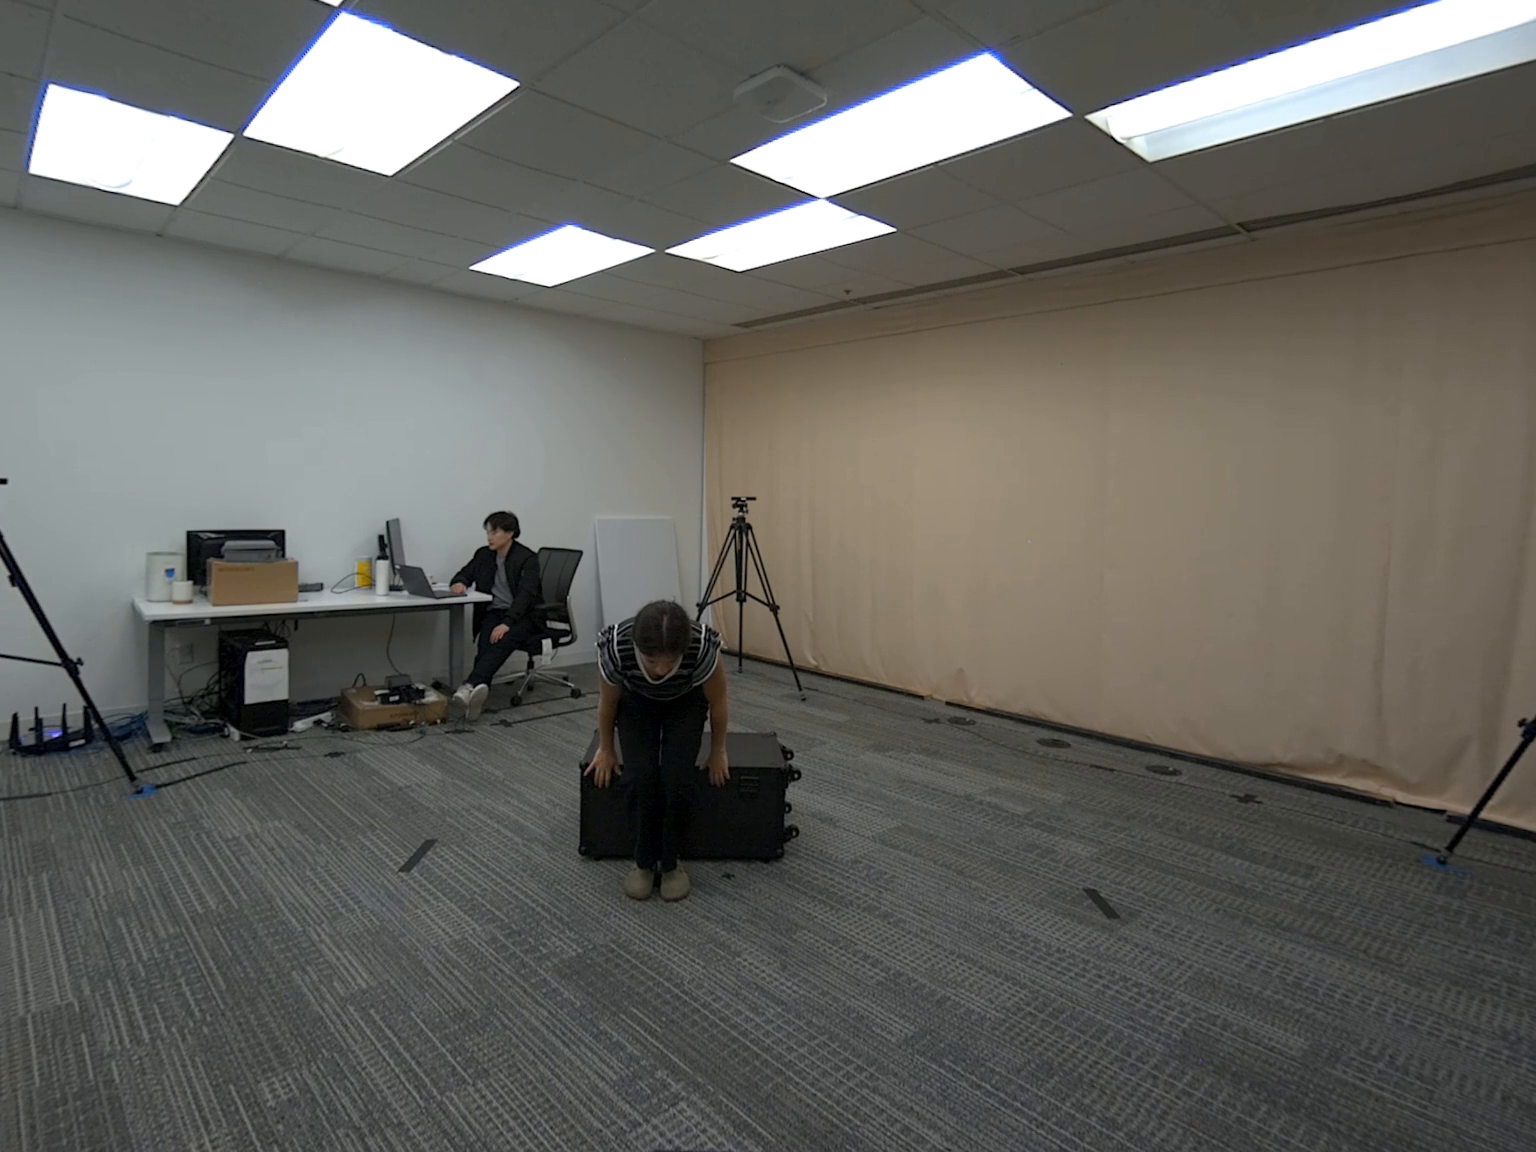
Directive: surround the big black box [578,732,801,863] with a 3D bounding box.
[{"bbox_3d":[-0.314,0.881,3.434,0.859,0.395,0.524,1,5,-4],"label":"big black box"}]
